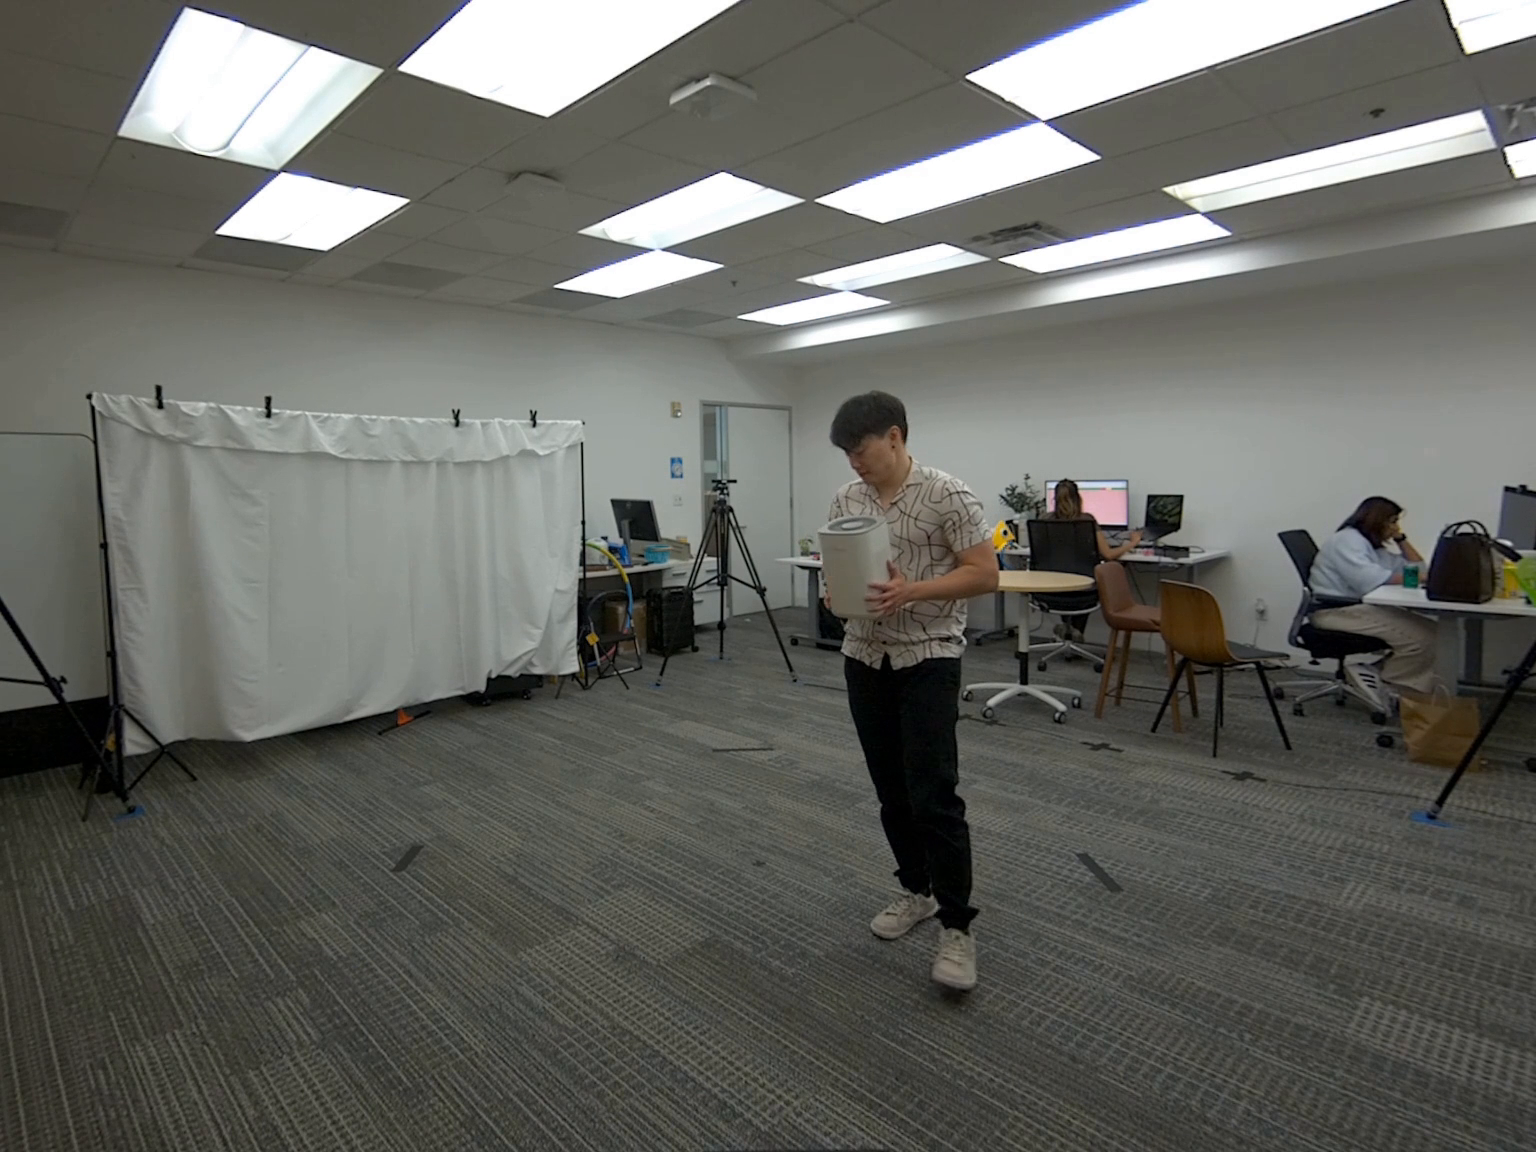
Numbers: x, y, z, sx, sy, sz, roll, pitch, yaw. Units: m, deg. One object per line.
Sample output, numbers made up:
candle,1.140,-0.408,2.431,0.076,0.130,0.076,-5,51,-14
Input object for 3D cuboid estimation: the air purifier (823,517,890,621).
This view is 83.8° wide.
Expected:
air purifier,0.294,-0.021,2.441,0.177,0.262,0.168,4,19,43
